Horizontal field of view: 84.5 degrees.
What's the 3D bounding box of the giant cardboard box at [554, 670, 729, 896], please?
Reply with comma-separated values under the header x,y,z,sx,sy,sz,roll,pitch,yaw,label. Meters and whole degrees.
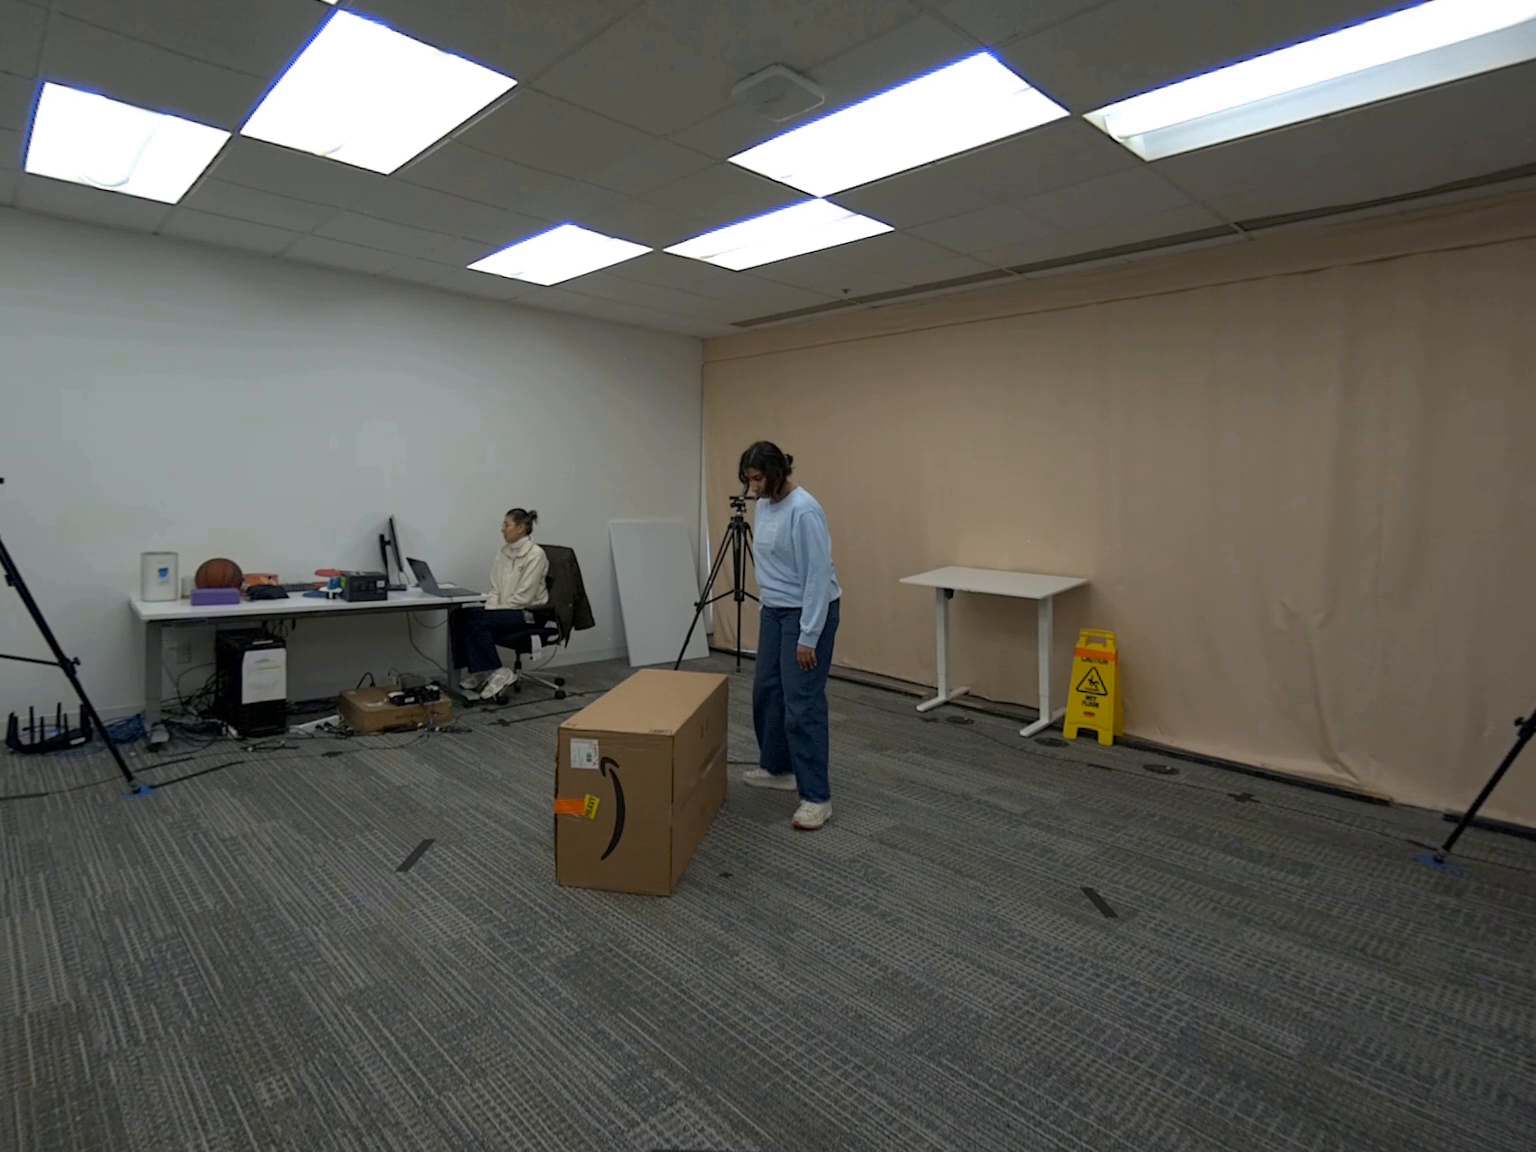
x,y,z,sx,sy,sz,roll,pitch,yaw,label
-0.478,0.775,3.440,0.429,0.576,1.020,1,5,9,giant cardboard box
